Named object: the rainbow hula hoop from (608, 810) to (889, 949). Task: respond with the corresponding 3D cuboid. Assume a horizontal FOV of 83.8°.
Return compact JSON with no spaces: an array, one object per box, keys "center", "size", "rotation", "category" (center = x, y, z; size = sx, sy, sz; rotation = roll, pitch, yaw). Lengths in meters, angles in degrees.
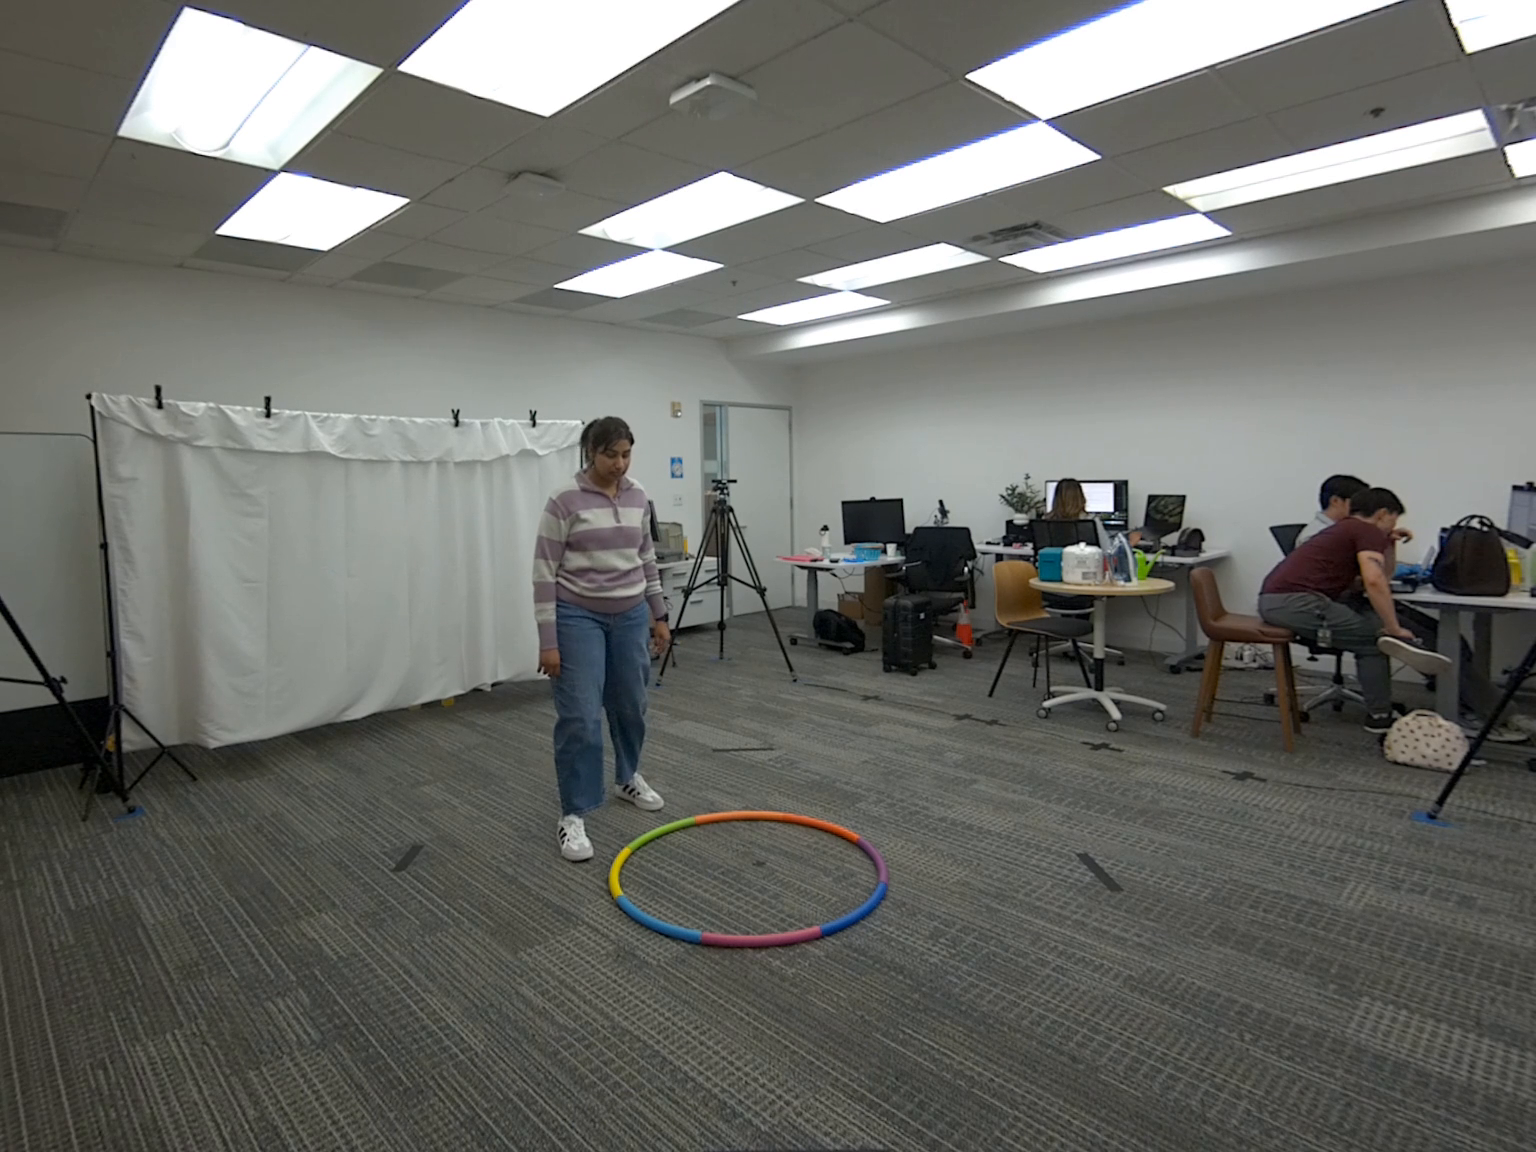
[{"center":[-0.072,1.025,3.035],"size":[0.978,0.035,0.984],"rotation":[-1,7,-2],"category":"rainbow hula hoop"}]
